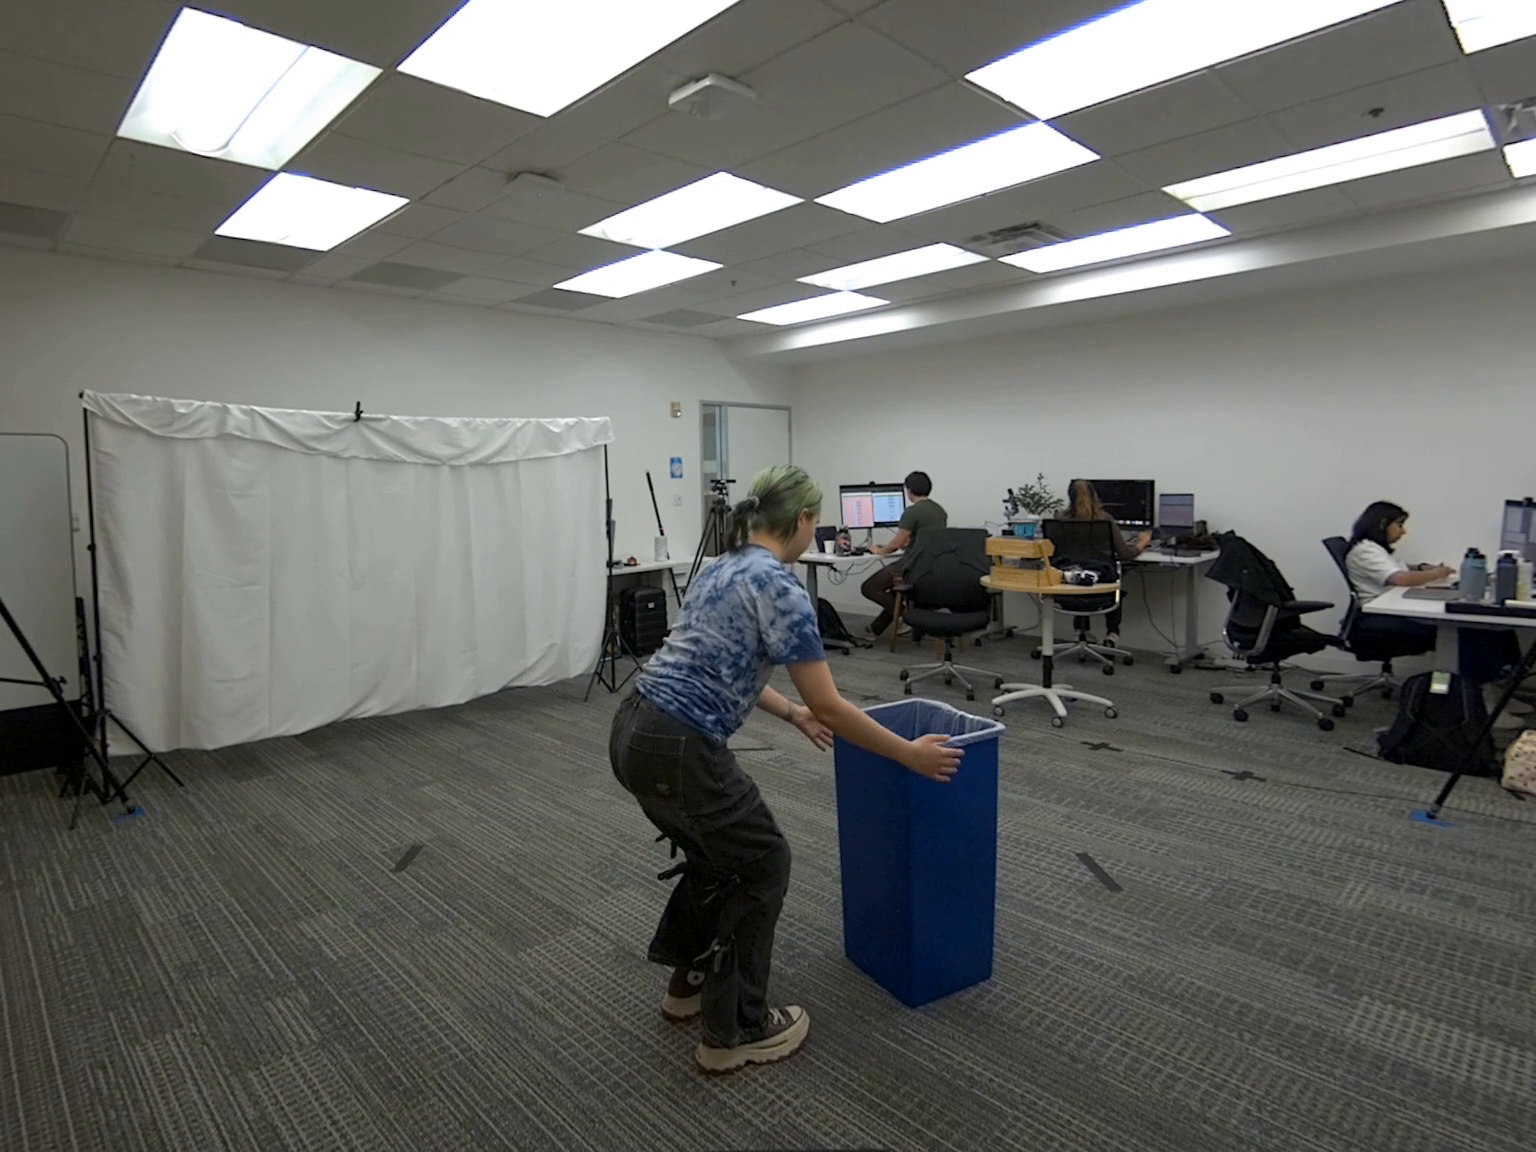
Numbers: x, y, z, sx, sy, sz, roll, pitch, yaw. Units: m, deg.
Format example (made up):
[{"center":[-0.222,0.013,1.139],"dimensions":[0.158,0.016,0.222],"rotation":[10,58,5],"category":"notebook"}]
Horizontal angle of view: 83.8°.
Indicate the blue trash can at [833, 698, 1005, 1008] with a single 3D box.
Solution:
[{"center":[0.420,0.763,2.411],"dimensions":[0.365,0.711,0.388],"rotation":[-4,5,-31],"category":"blue trash can"}]
